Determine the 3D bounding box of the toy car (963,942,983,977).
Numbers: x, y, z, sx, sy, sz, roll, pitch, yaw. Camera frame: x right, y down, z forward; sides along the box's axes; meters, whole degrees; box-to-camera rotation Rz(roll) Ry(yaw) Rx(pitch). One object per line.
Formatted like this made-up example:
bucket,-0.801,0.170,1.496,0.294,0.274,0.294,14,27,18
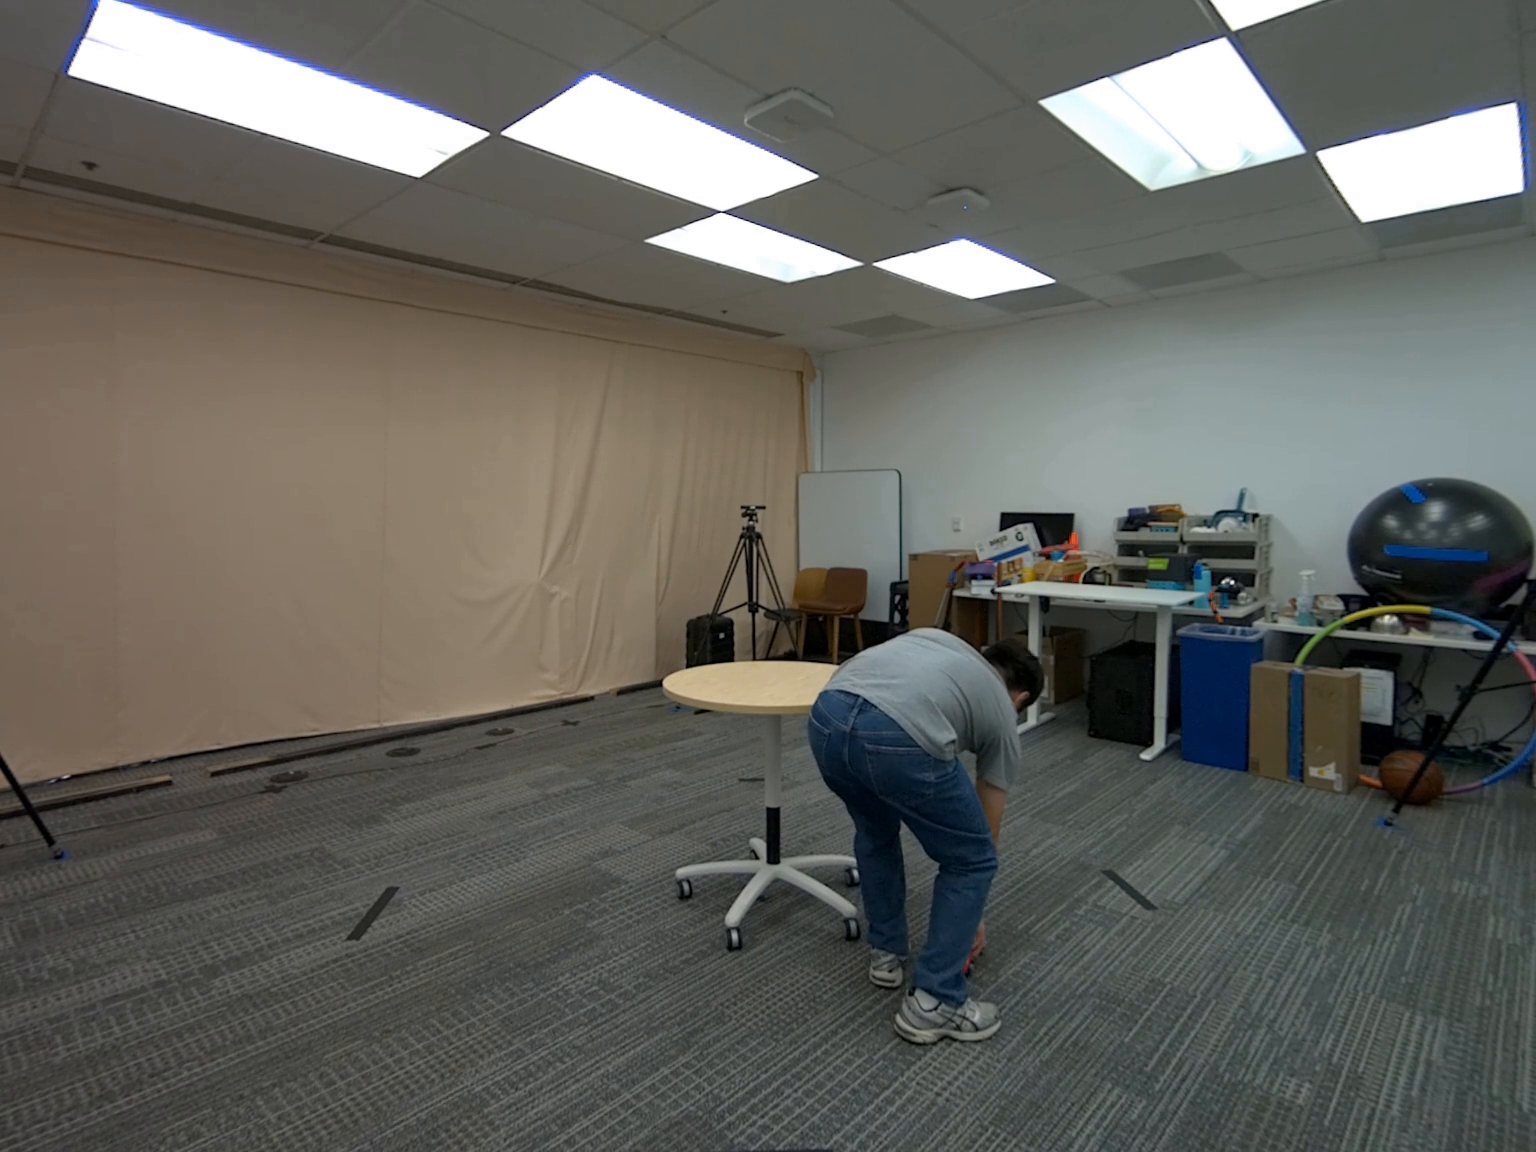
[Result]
toy car,0.580,1.149,2.562,0.134,0.083,0.247,5,-3,27
